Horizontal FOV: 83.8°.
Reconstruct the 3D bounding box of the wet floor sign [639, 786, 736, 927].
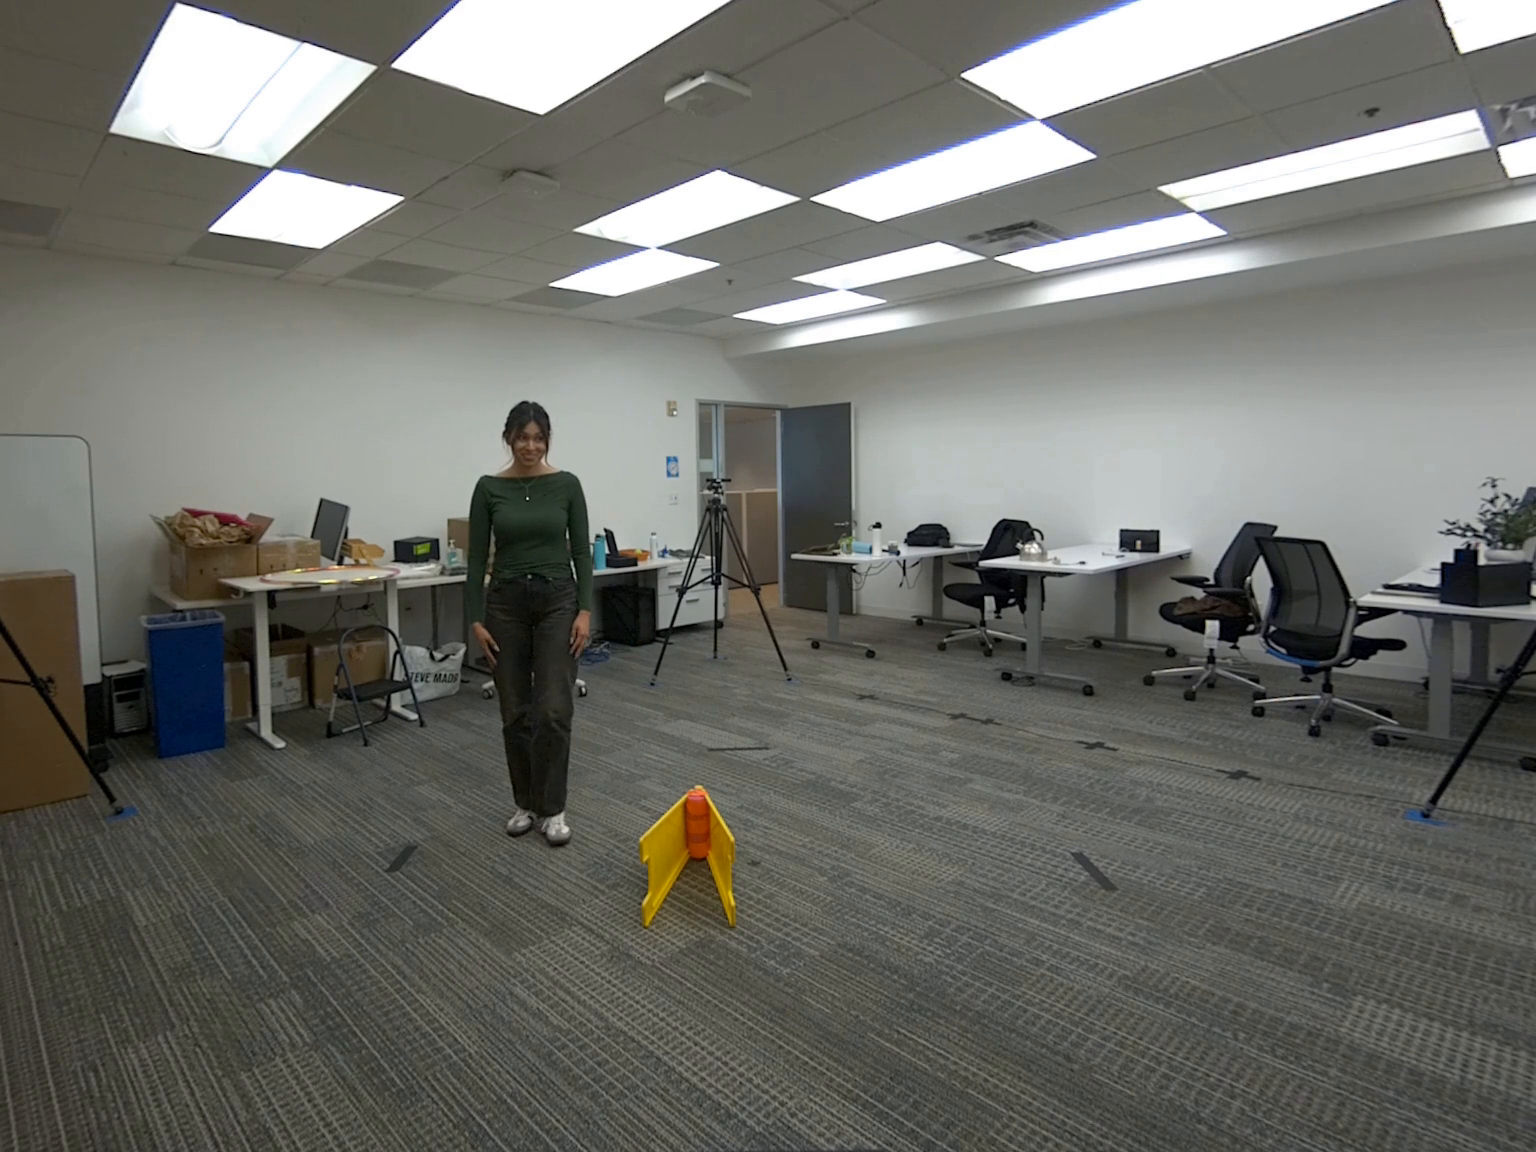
[{"bbox_3d":[-0.258,0.928,2.987,0.290,0.281,0.648,-1,4,-1],"label":"wet floor sign"}]
